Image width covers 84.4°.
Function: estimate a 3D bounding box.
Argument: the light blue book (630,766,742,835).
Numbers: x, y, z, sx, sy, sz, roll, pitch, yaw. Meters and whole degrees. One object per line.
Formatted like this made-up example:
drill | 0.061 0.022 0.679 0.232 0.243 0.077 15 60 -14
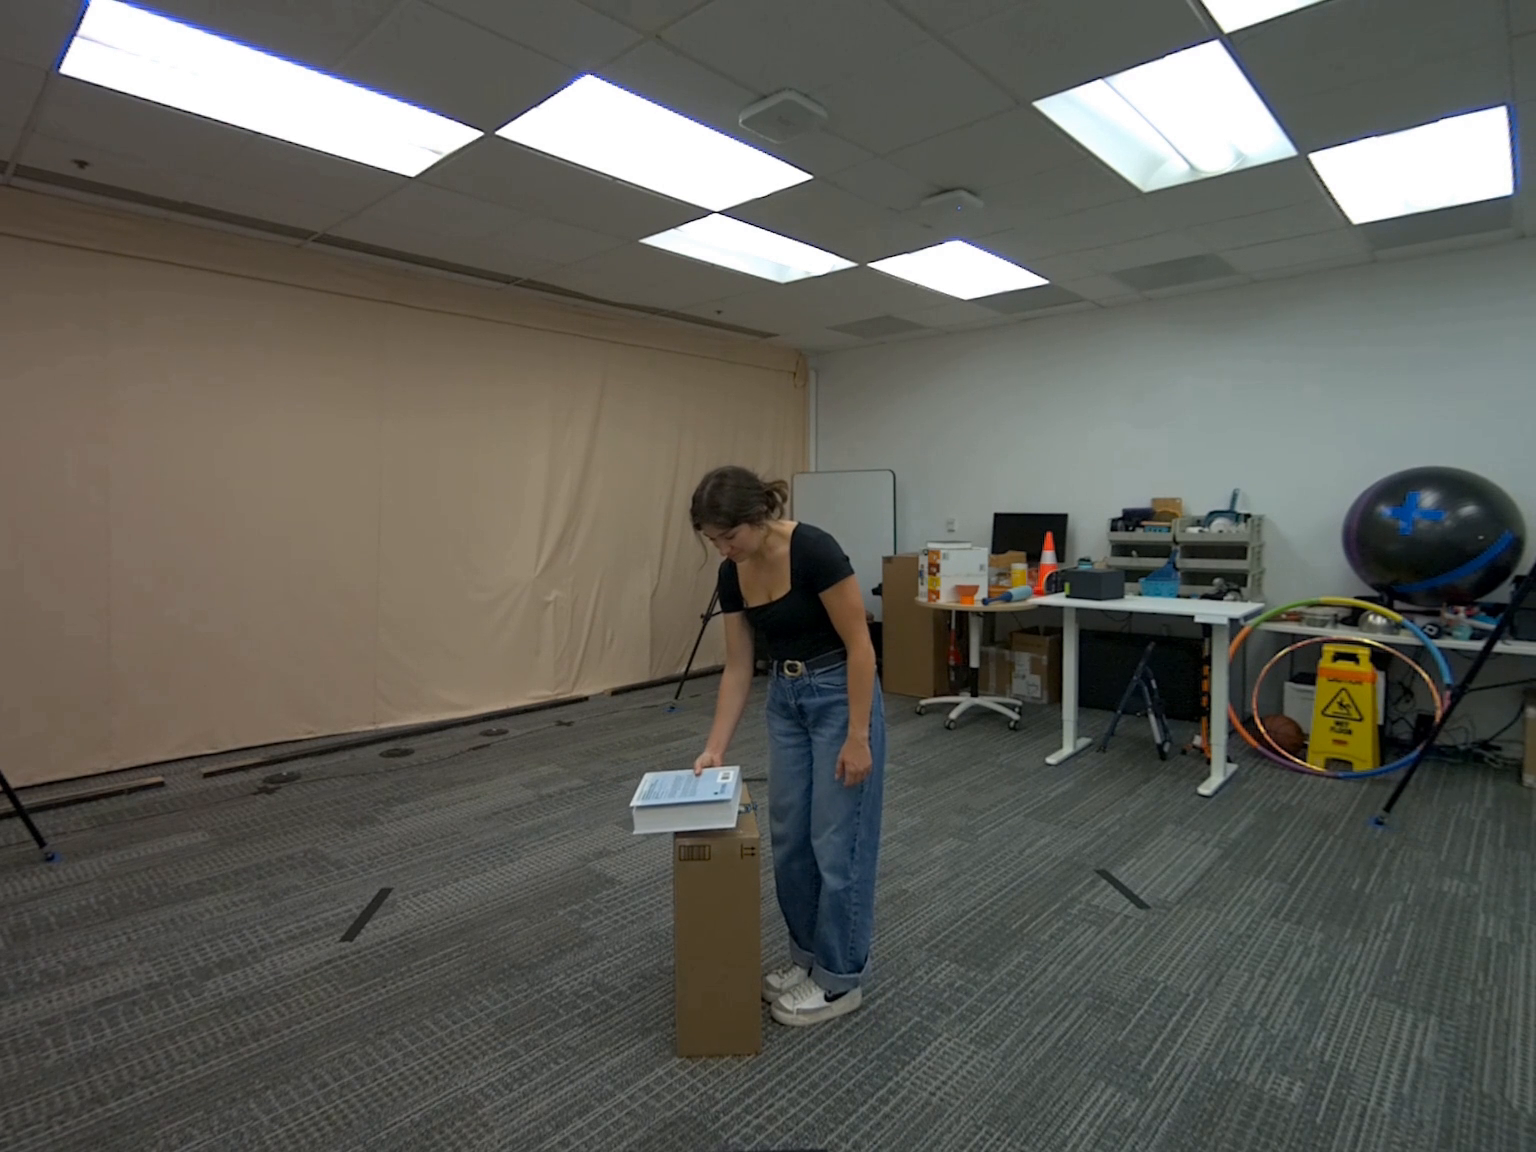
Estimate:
light blue book | -0.199 0.573 2.162 0.263 0.058 0.191 -7 13 8
